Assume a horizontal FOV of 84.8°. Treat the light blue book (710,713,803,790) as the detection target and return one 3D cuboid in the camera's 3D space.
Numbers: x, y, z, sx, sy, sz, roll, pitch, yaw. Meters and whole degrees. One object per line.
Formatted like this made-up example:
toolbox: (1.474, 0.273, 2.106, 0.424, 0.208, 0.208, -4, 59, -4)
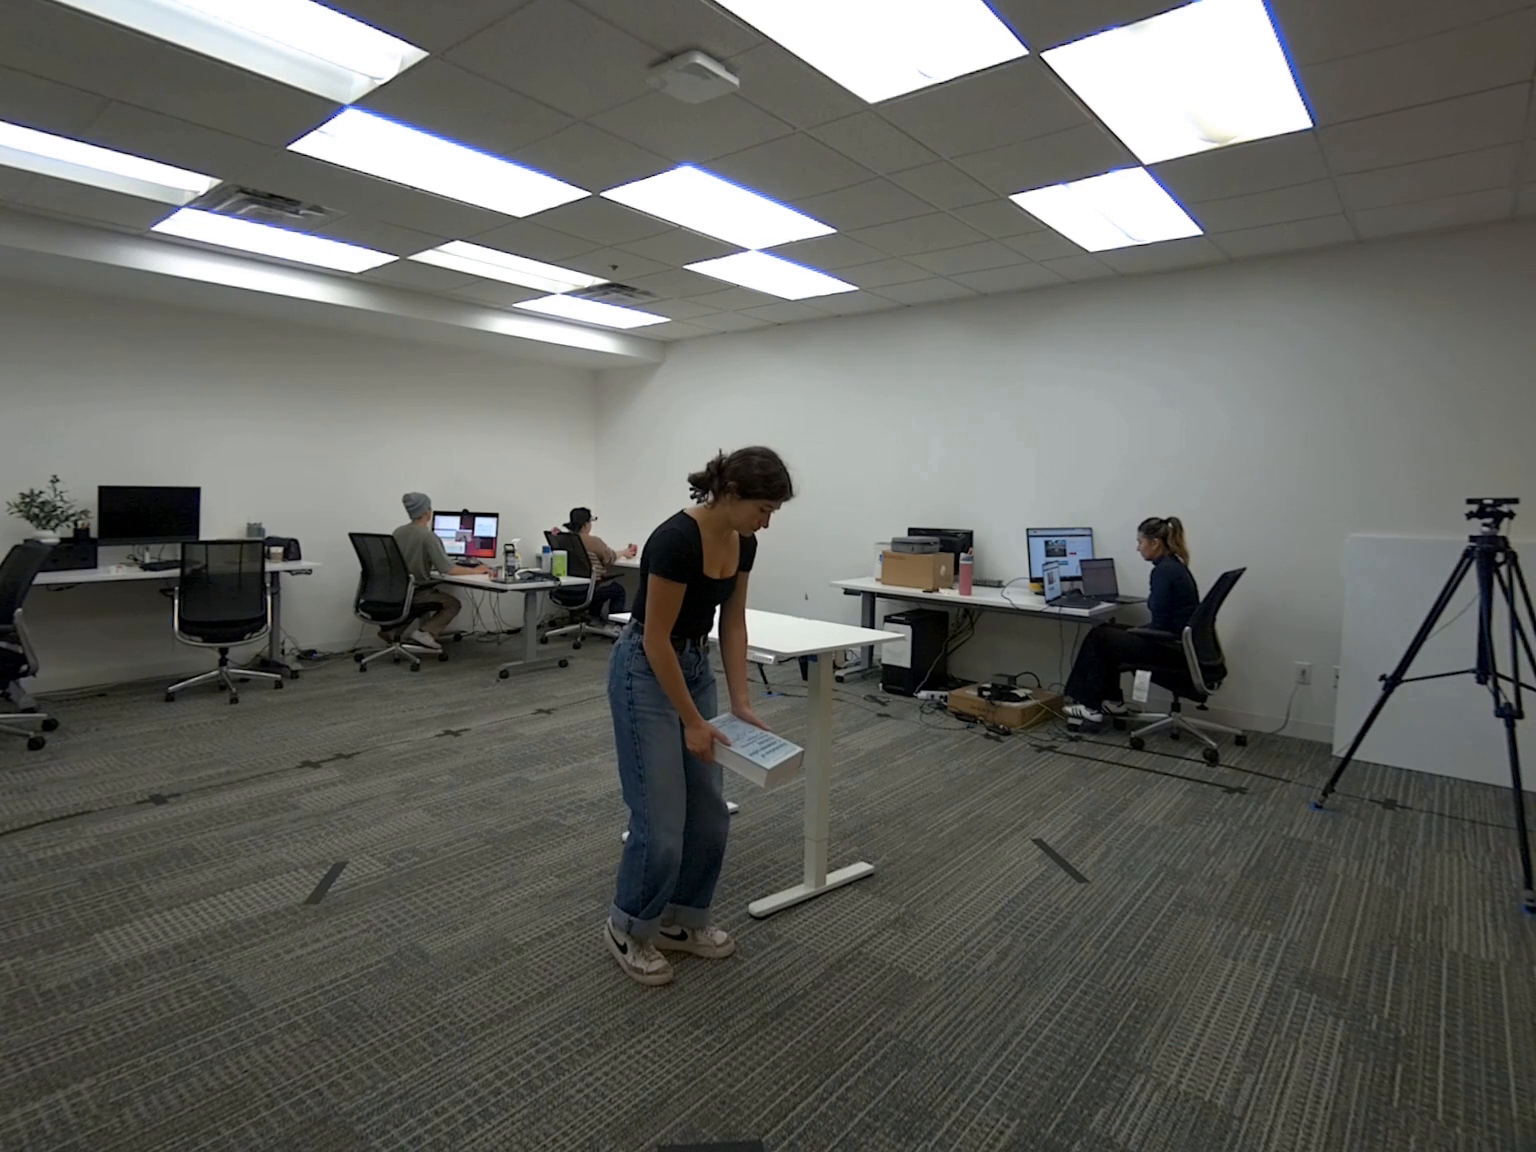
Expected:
light blue book: (-0.062, 0.475, 2.326, 0.270, 0.058, 0.187, 18, 16, 31)
